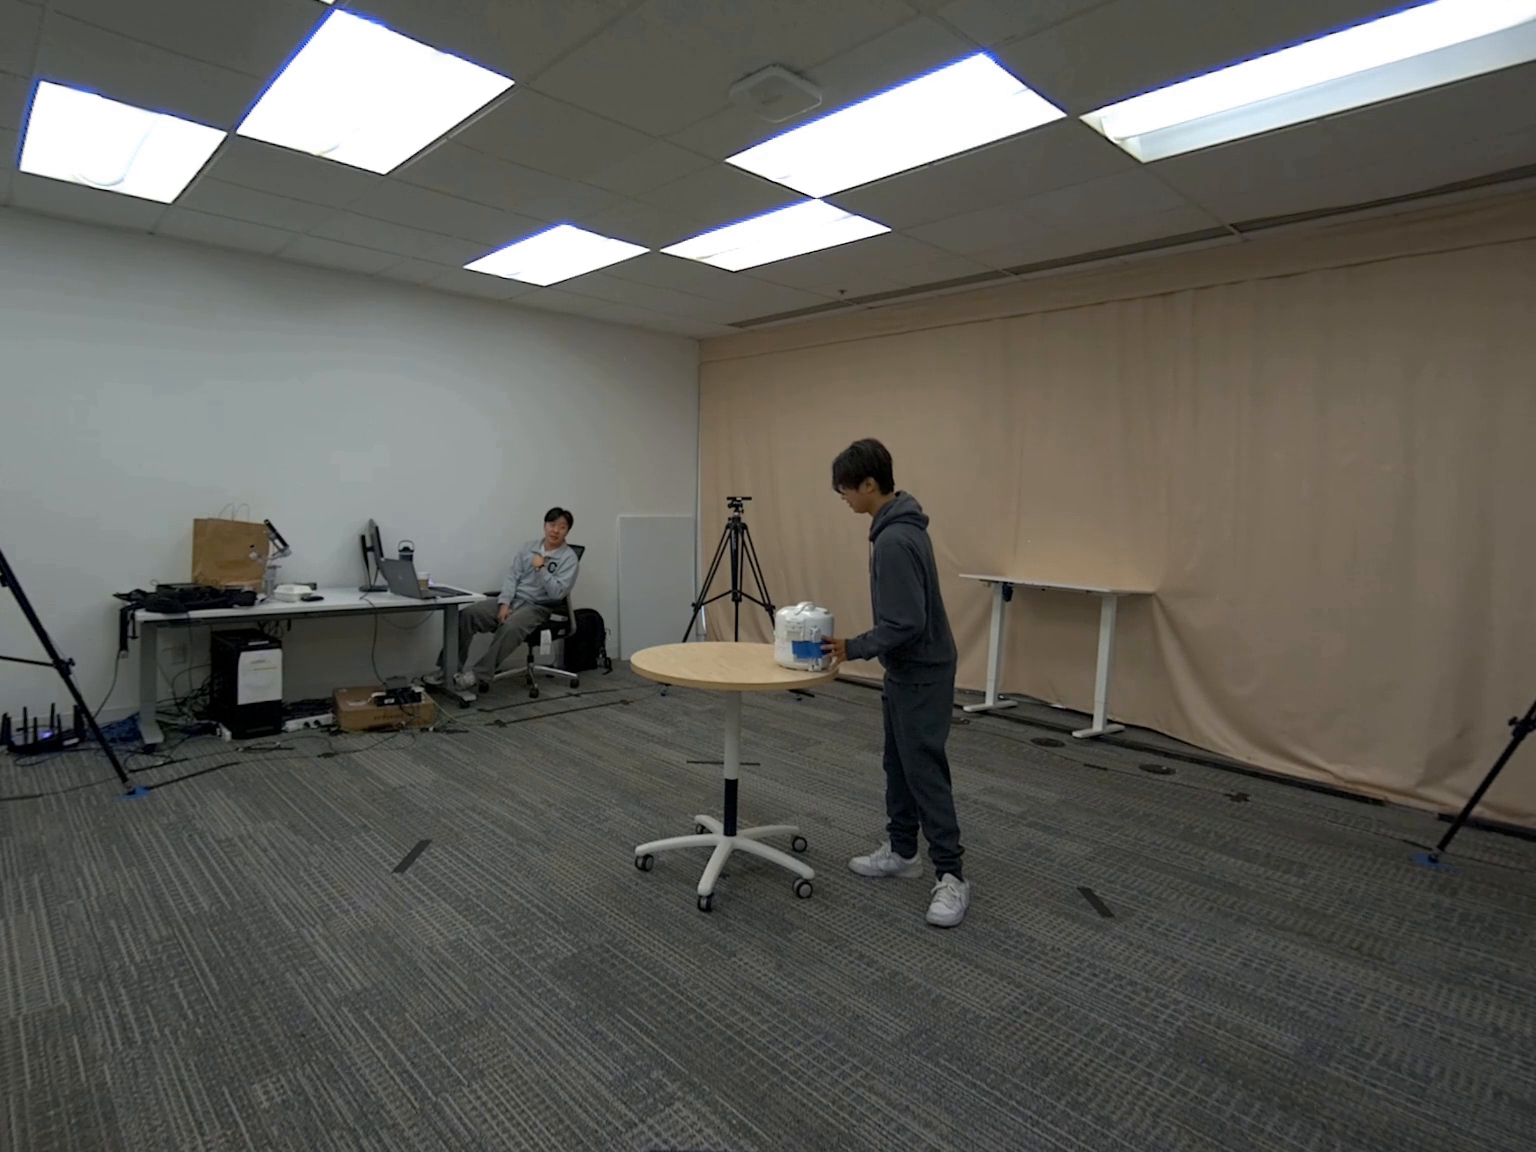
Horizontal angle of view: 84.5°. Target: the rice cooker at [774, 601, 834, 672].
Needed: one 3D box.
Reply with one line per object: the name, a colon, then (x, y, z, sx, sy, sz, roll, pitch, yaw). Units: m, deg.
rice cooker: (0.126, 0.210, 3.020, 0.222, 0.232, 0.217, 5, 5, 25)
